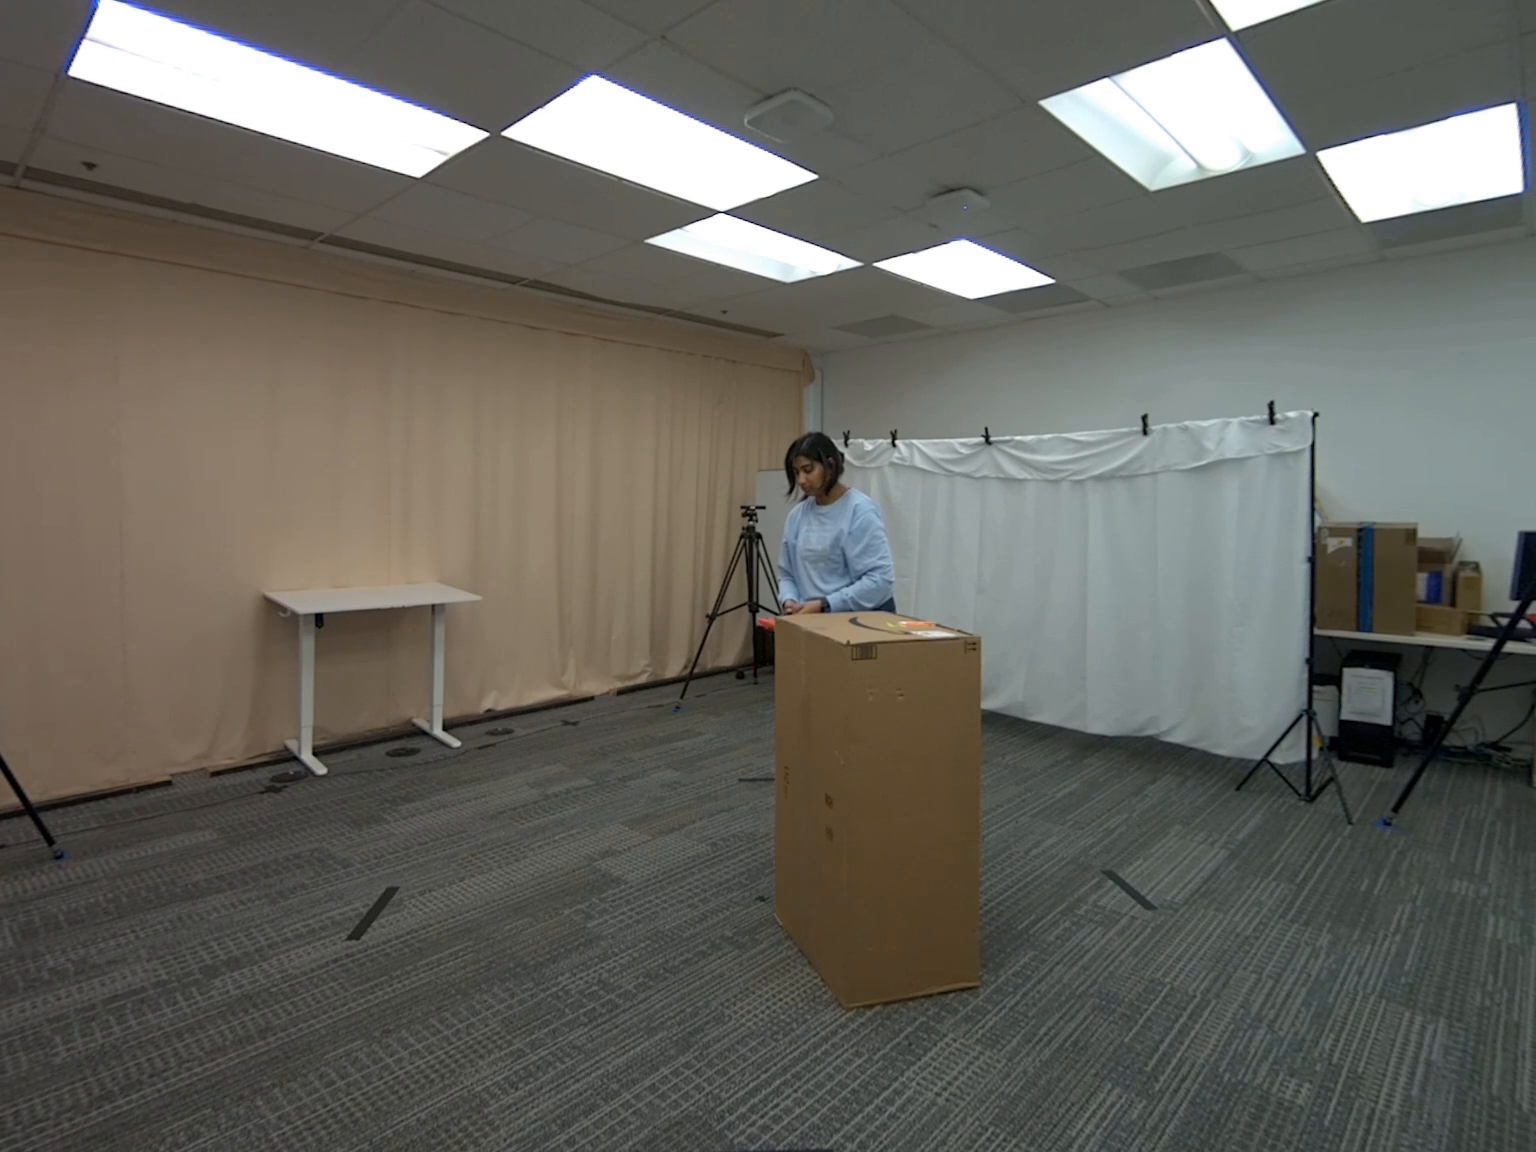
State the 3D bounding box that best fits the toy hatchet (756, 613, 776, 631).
[{"bbox_3d":[0.103,0.188,3.098,0.264,0.029,0.135,-5,20,-22],"label":"toy hatchet"}]
